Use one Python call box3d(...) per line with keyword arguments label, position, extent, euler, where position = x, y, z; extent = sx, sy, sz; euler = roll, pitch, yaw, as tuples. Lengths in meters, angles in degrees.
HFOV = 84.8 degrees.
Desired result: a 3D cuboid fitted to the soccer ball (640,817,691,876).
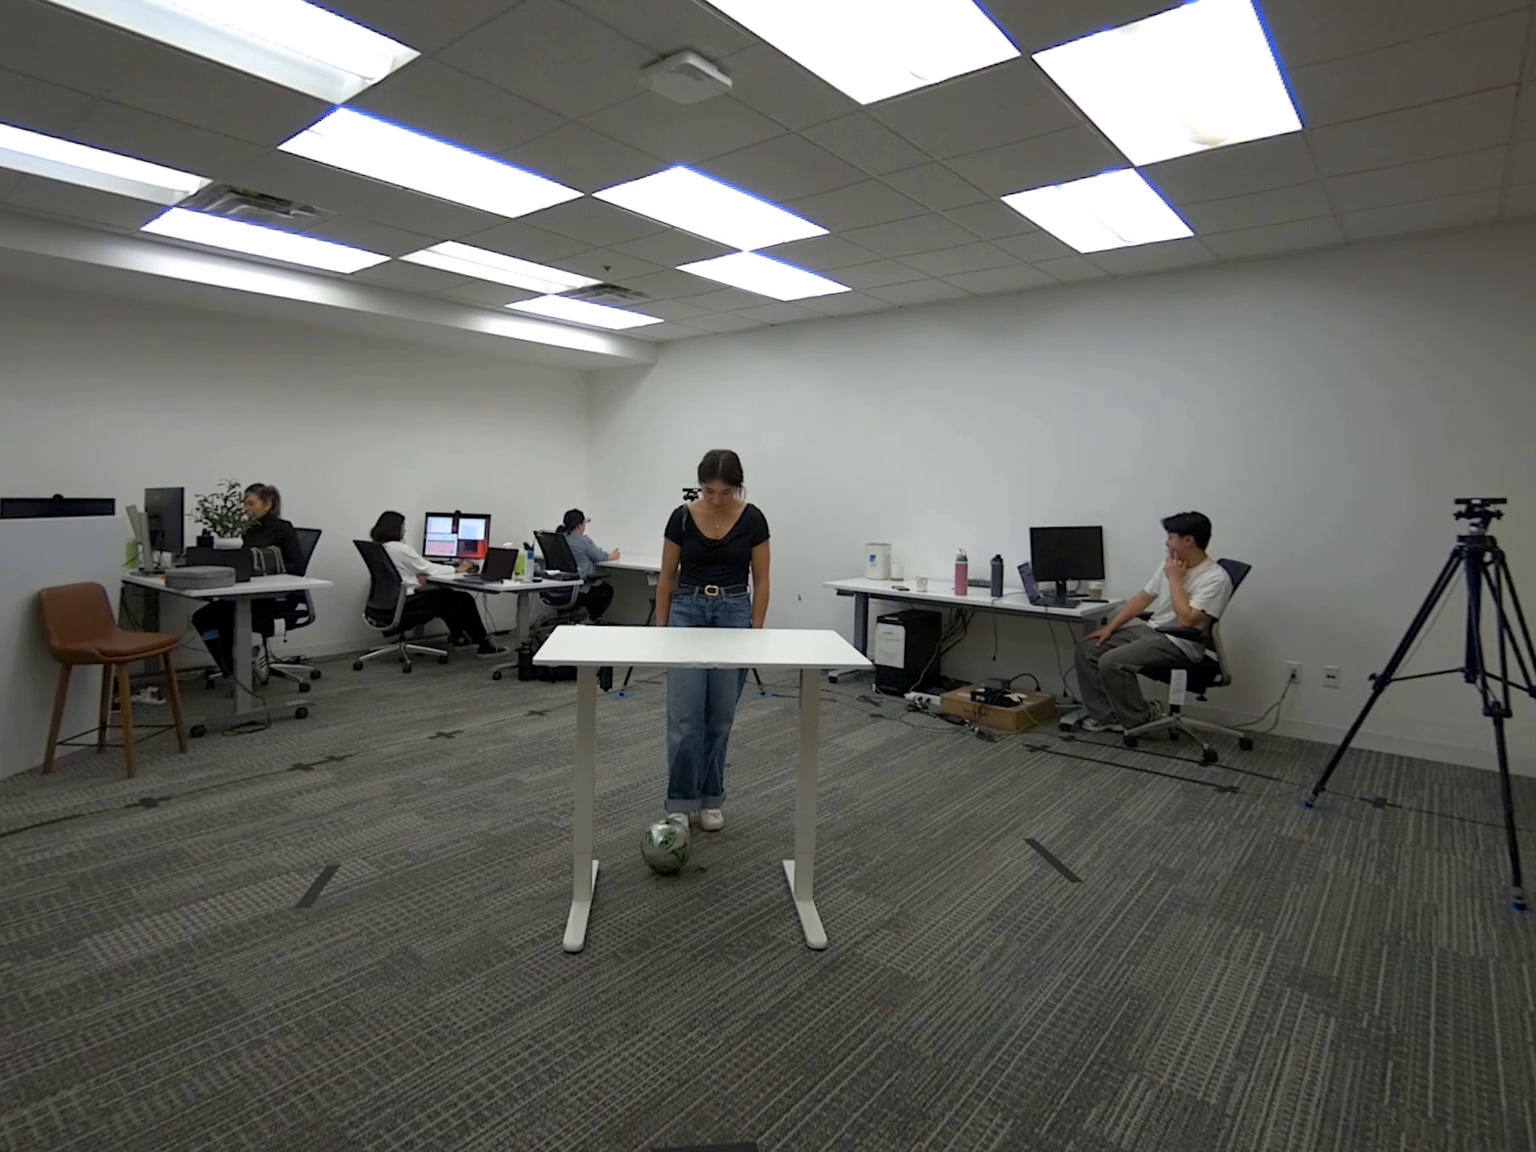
box3d(label="soccer ball", position=(-0.379, 0.974, 3.098), extent=(0.187, 0.187, 0.188), euler=(1, 4, -2))
